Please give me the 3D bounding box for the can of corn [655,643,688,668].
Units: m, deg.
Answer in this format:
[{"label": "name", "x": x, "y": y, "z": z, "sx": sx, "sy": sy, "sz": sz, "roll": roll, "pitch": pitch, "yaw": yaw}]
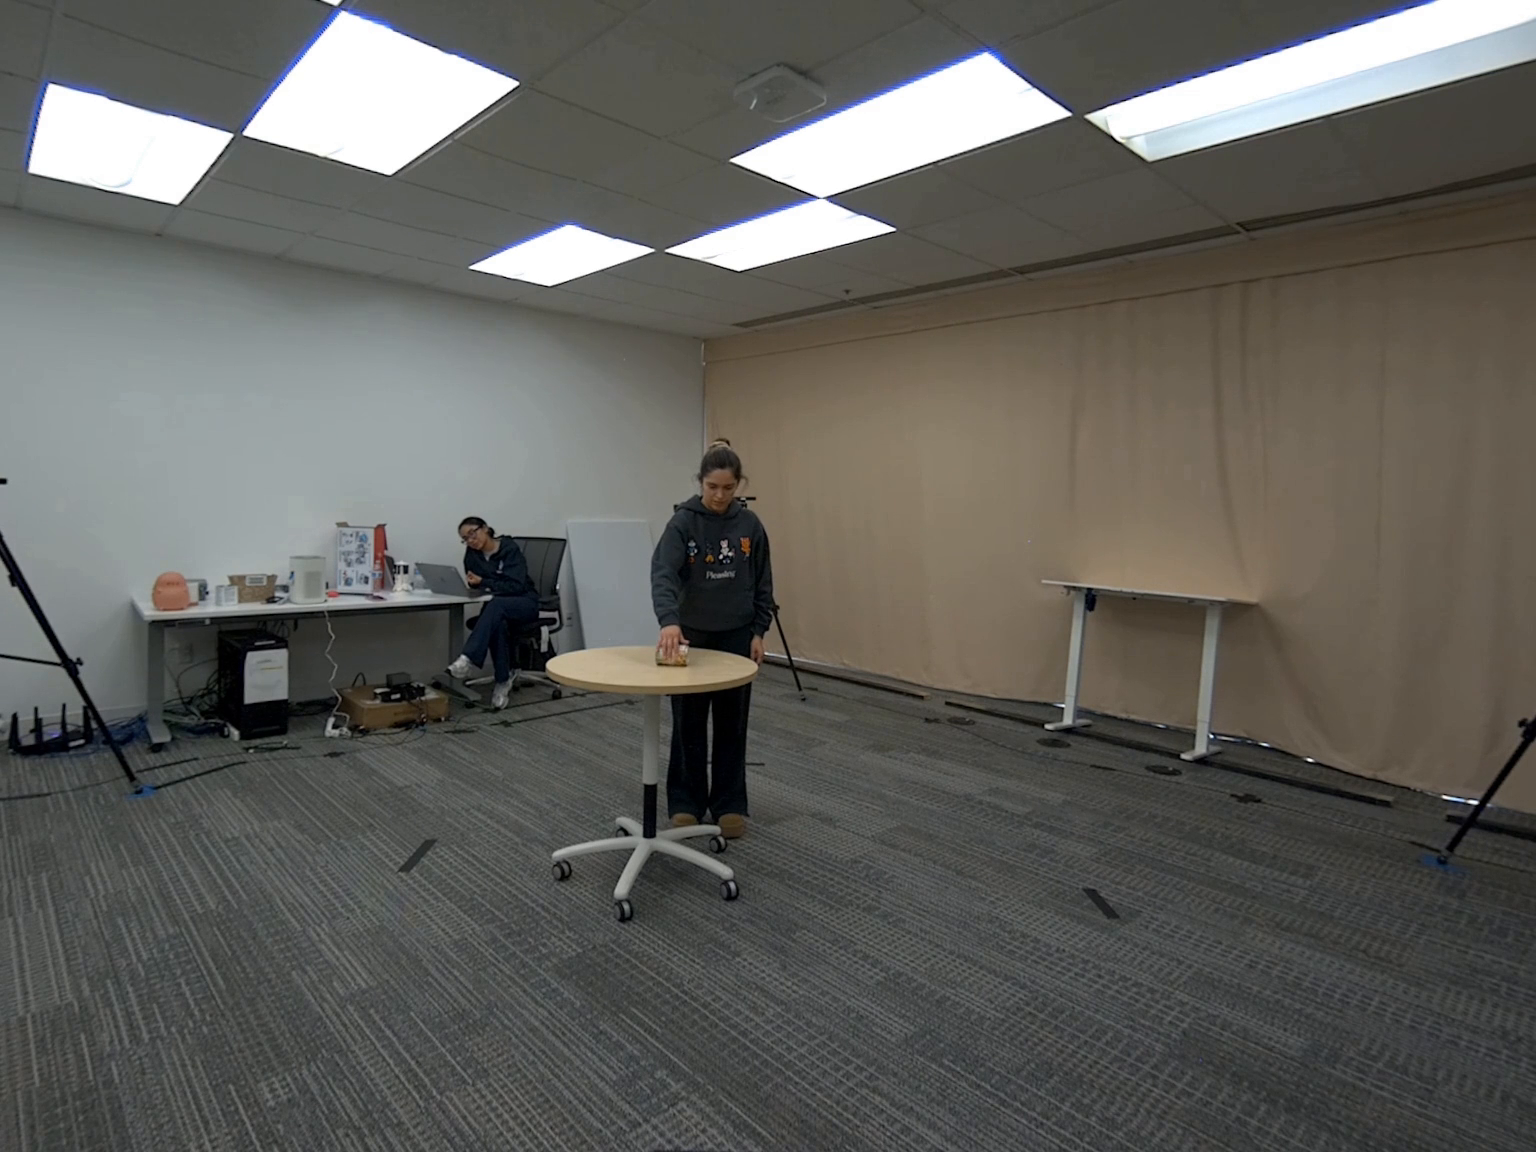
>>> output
[{"label": "can of corn", "x": -0.365, "y": 0.286, "z": 3.064, "sx": 0.111, "sy": 0.074, "sz": 0.074, "roll": -1, "pitch": 5, "yaw": 6}]
